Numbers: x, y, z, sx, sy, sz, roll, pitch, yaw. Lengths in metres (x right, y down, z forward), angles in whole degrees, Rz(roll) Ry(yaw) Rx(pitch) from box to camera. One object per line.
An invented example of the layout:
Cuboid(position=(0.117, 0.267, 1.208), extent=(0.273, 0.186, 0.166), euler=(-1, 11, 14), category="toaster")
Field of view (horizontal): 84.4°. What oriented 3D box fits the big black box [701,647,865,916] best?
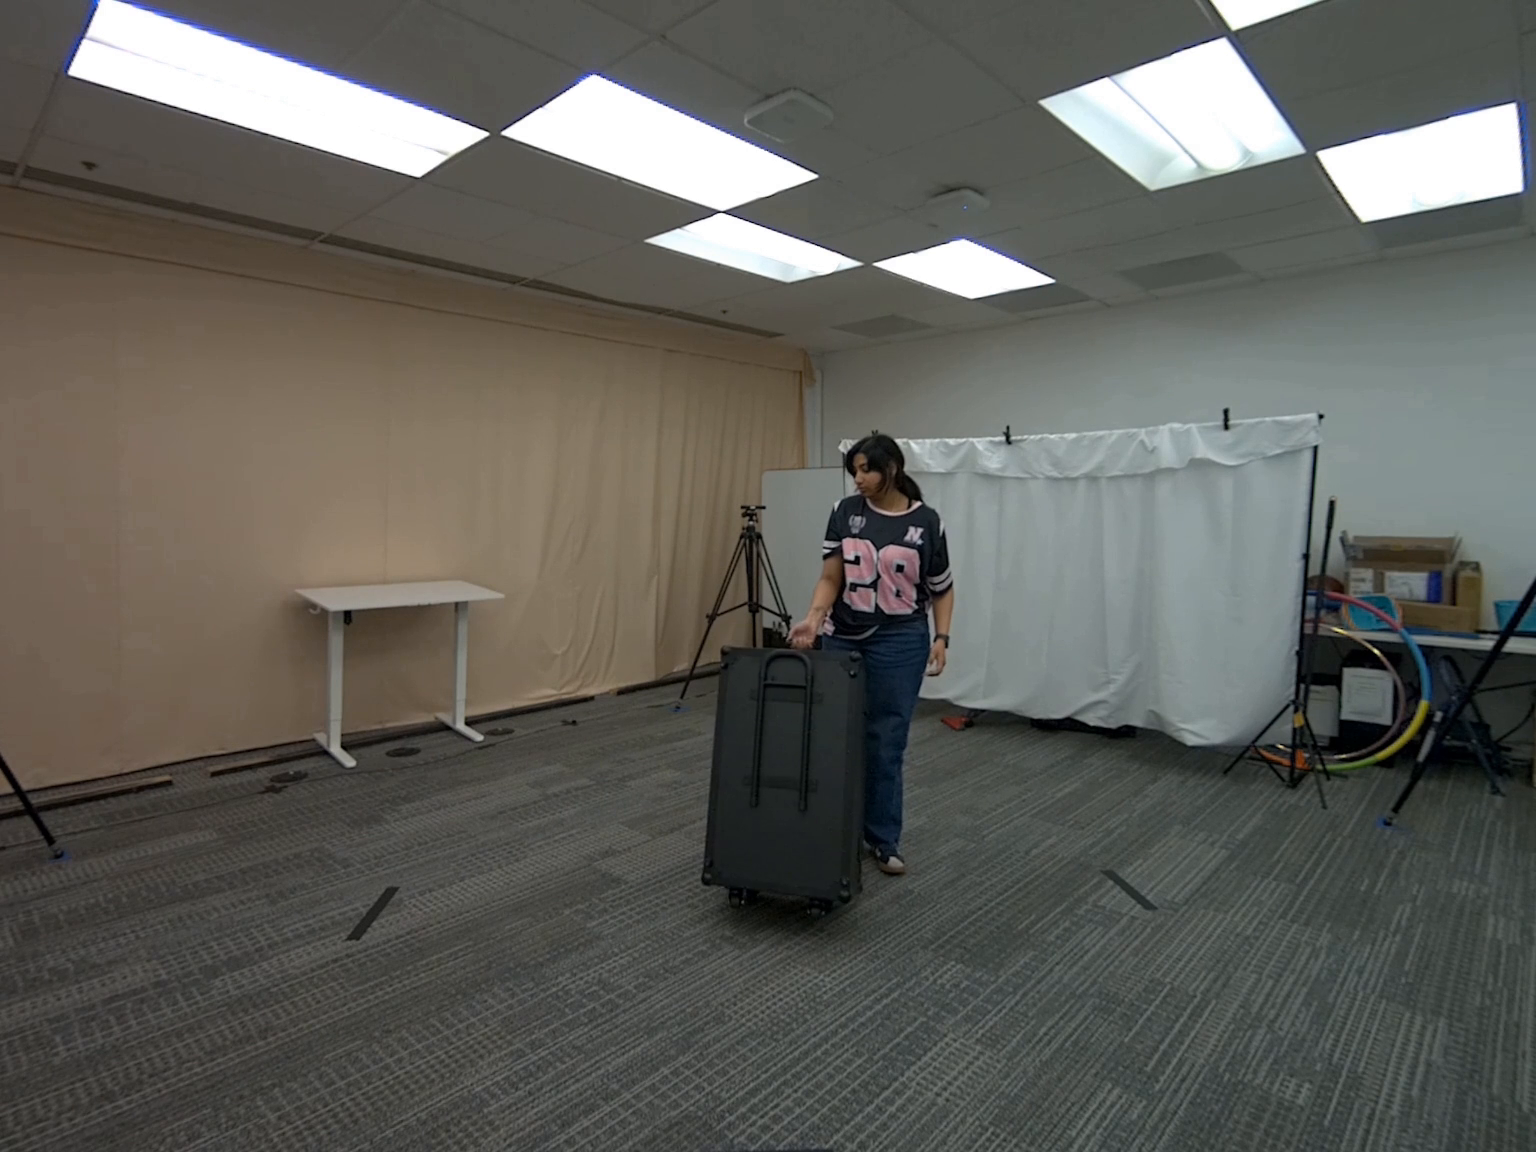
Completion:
Cuboid(position=(0.078, 0.706, 2.919), extent=(0.530, 0.868, 0.387), euler=(0, -15, 15), category="big black box")
